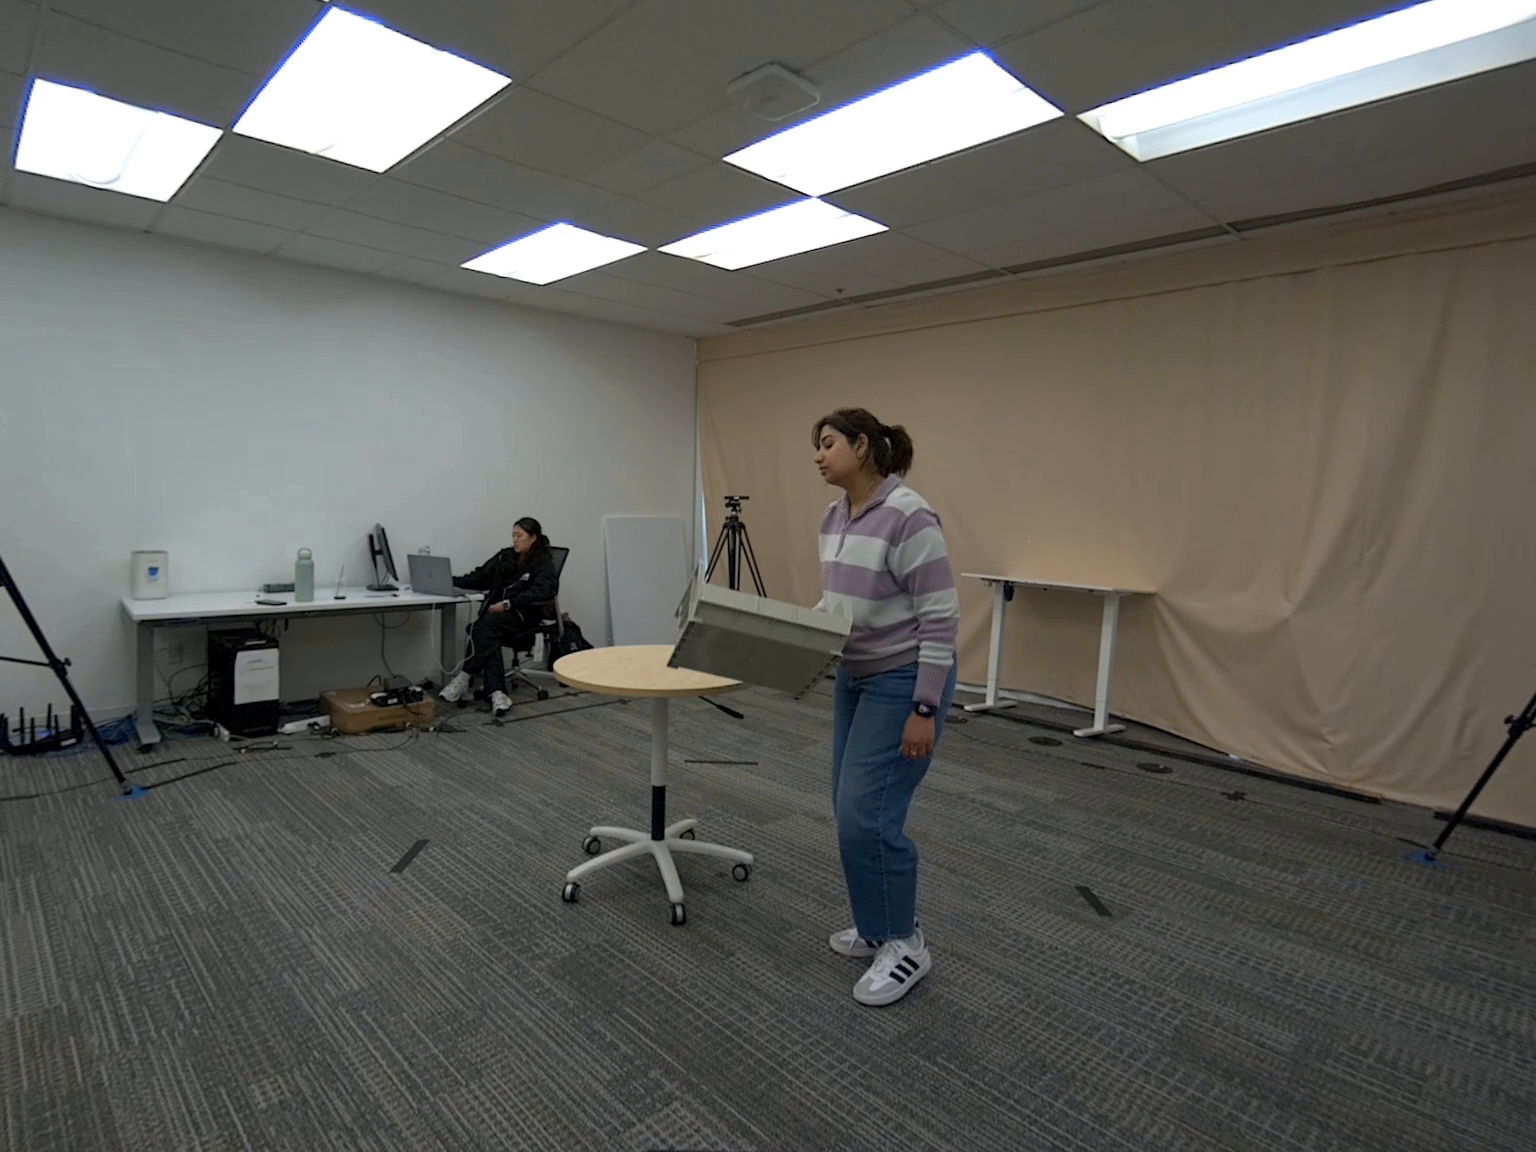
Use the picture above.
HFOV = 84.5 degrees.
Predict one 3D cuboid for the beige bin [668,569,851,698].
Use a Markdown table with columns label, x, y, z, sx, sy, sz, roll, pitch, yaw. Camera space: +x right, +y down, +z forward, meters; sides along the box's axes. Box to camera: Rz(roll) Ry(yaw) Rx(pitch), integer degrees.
| label | x | y | z | sx | sy | sz | roll | pitch | yaw |
| --- | --- | --- | --- | --- | --- | --- | --- | --- | --- |
| beige bin | -0.034 | 0.154 | 2.316 | 0.418 | 0.192 | 0.374 | 13 | -33 | -11 |
